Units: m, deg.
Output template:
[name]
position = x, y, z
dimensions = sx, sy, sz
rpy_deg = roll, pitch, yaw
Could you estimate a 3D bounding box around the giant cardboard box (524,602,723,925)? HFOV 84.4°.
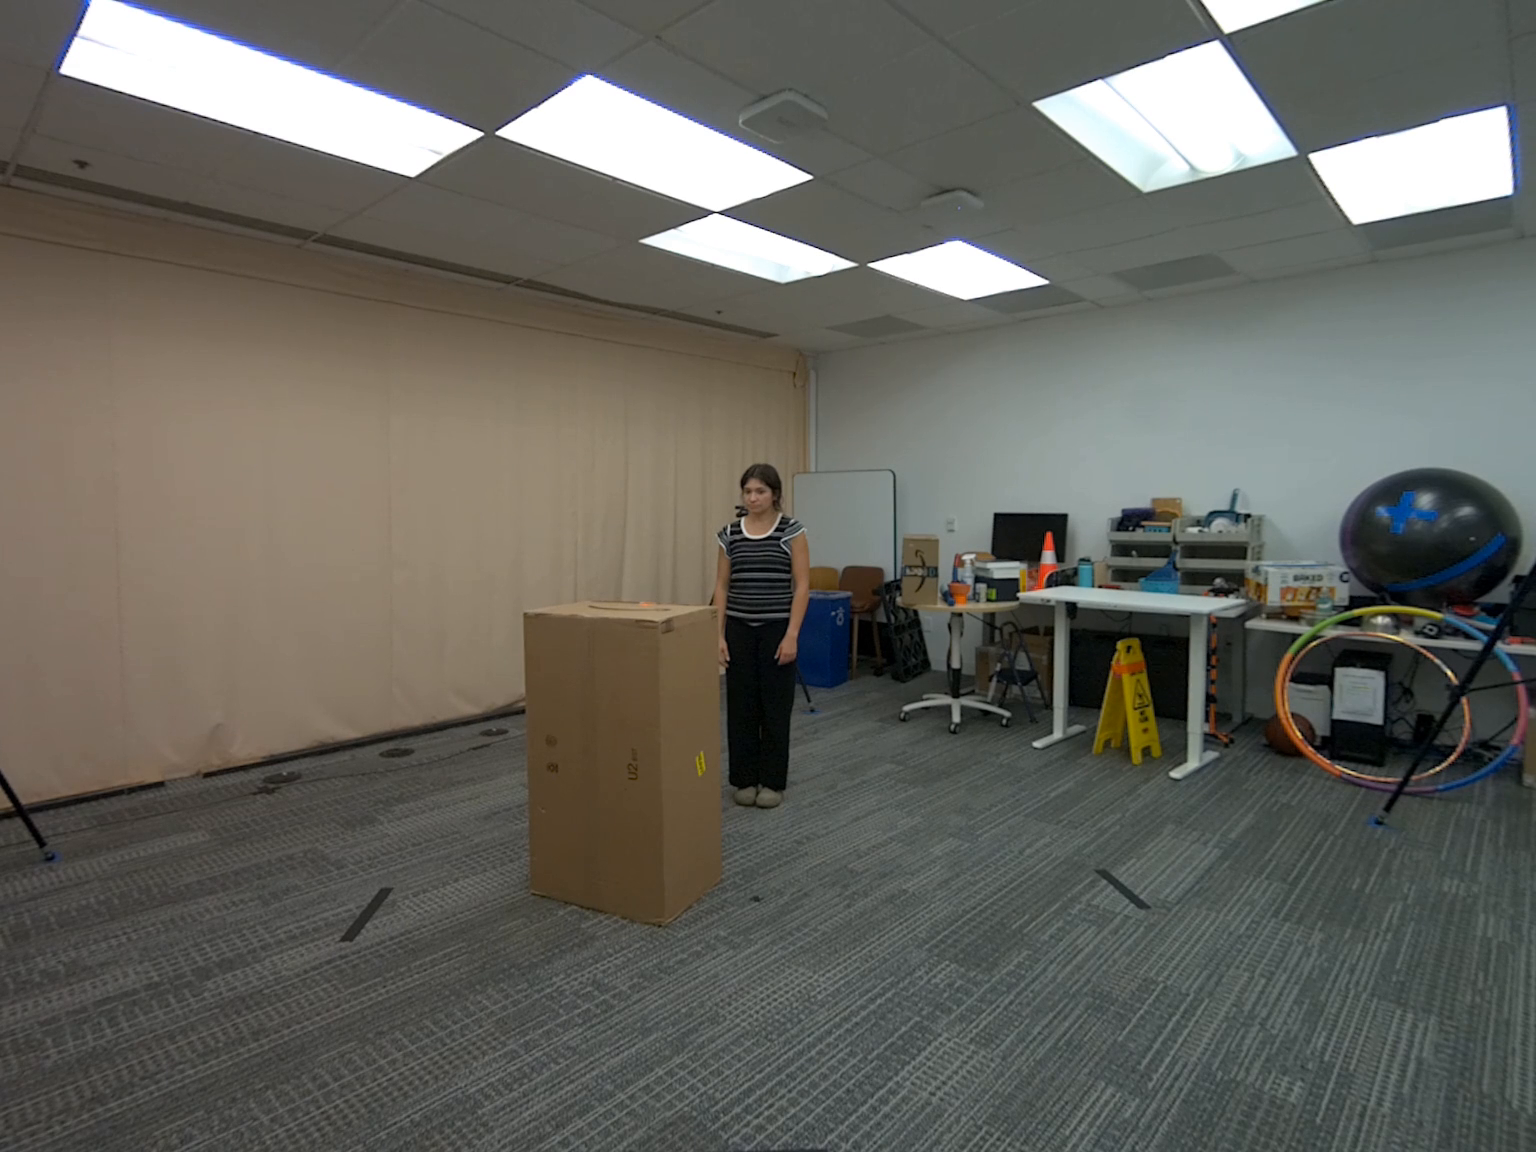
[giant cardboard box]
position = -0.526, 0.632, 3.080
dimensions = 0.593, 1.024, 0.415
rpy_deg = 1, 3, 27
